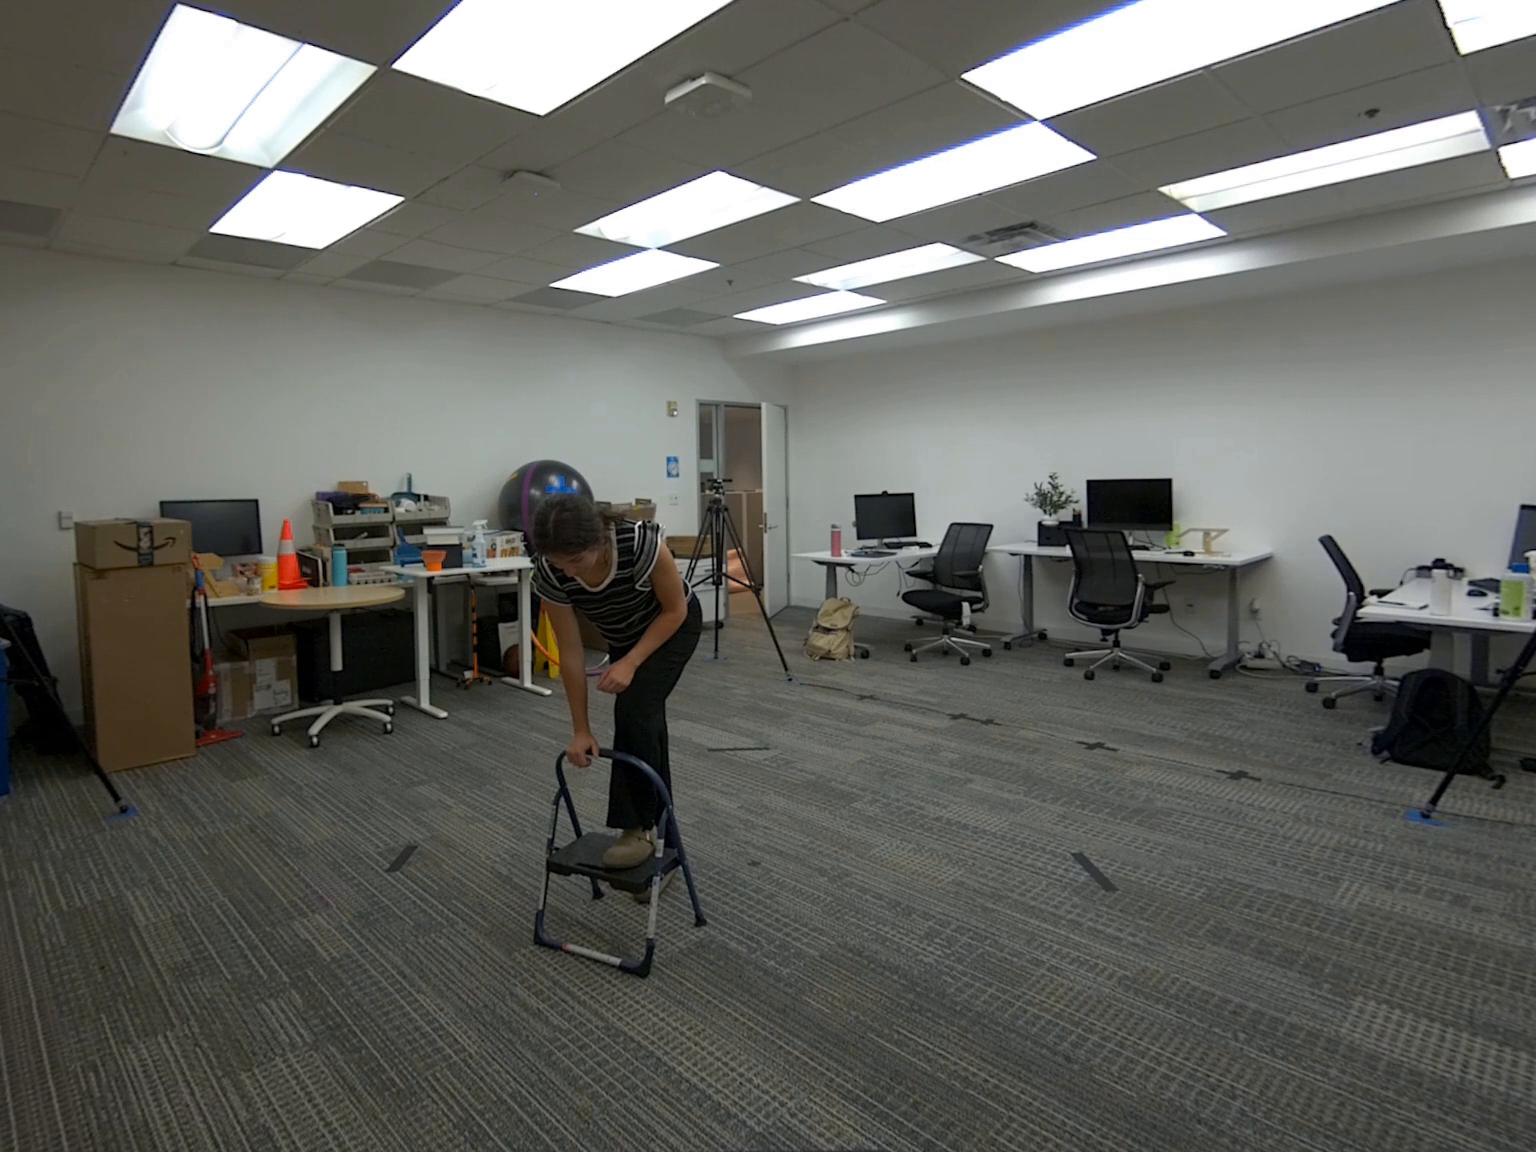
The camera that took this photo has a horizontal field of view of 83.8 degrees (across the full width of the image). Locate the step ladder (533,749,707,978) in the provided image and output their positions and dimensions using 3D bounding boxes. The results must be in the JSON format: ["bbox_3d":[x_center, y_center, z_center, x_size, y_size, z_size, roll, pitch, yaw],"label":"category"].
[{"bbox_3d":[-0.462,0.807,2.628,0.441,0.603,0.343,2,6,26],"label":"step ladder"}]
